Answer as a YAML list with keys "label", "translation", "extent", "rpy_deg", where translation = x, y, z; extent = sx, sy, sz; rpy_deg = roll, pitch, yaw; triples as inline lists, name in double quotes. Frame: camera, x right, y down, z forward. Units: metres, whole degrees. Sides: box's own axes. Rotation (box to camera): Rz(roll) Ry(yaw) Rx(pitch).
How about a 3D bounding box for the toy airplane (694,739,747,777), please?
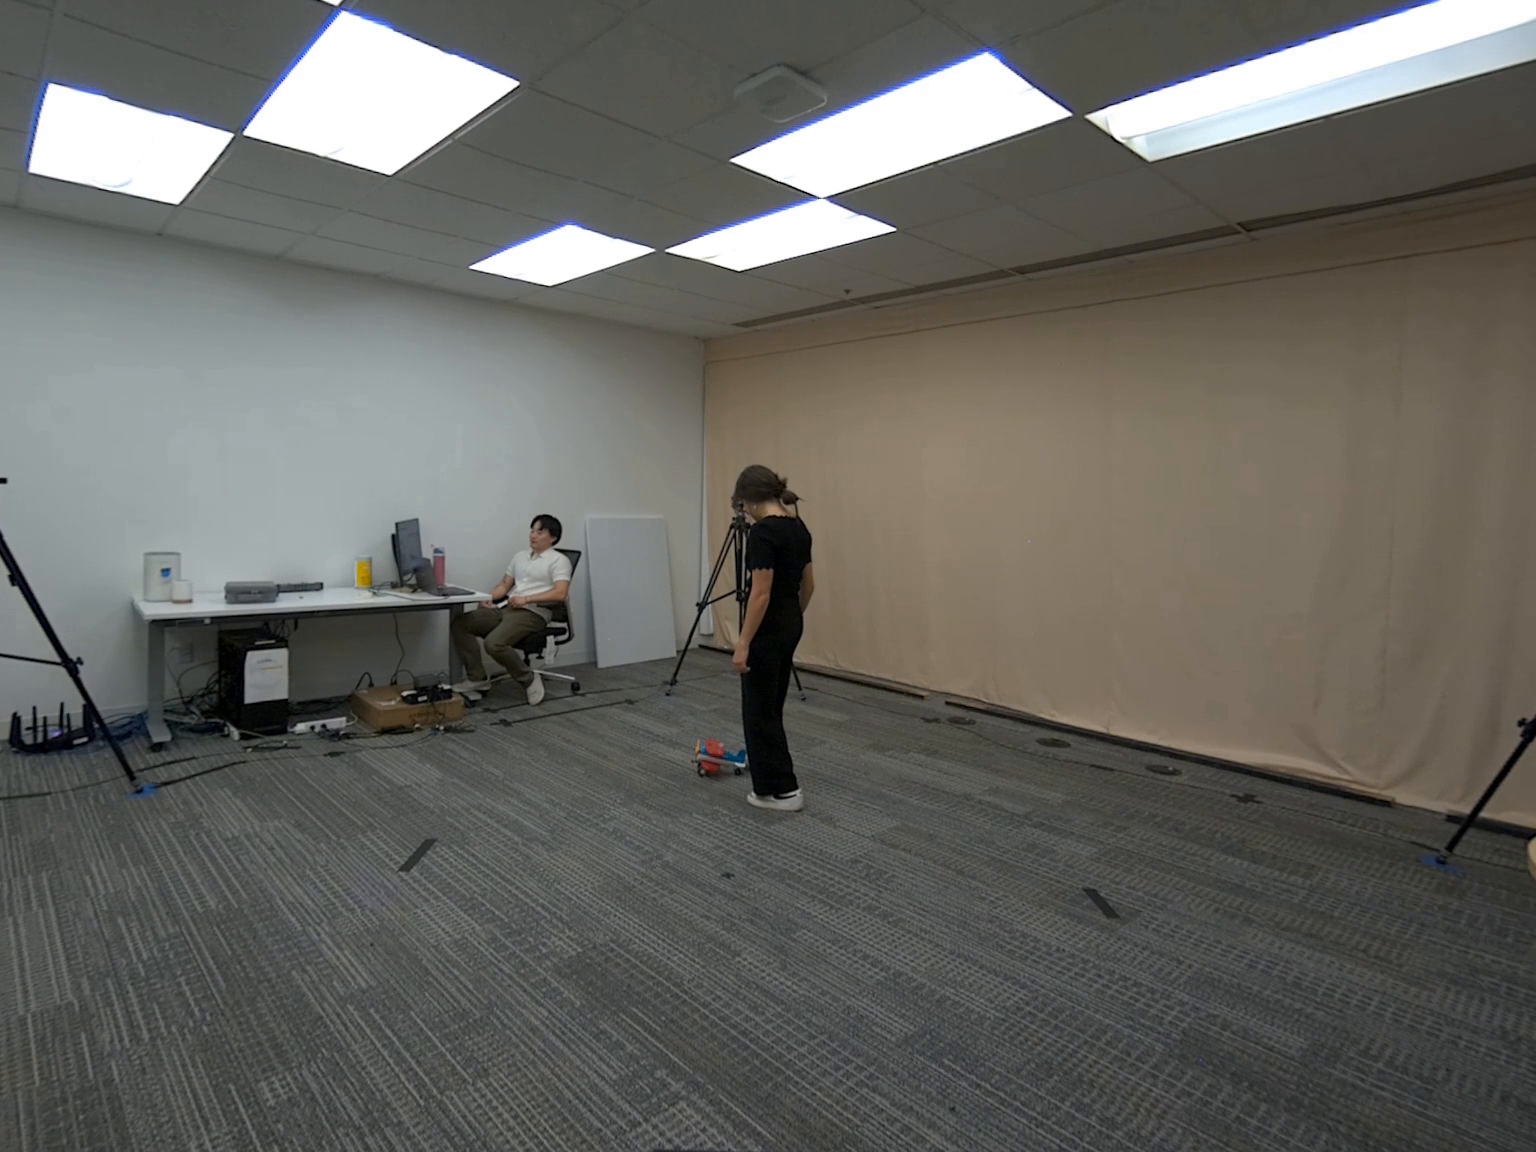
- label: "toy airplane"
  translation: [-0.256, 0.922, 4.288]
  extent: [0.254, 0.156, 0.257]
  rpy_deg: [-1, 5, -31]
